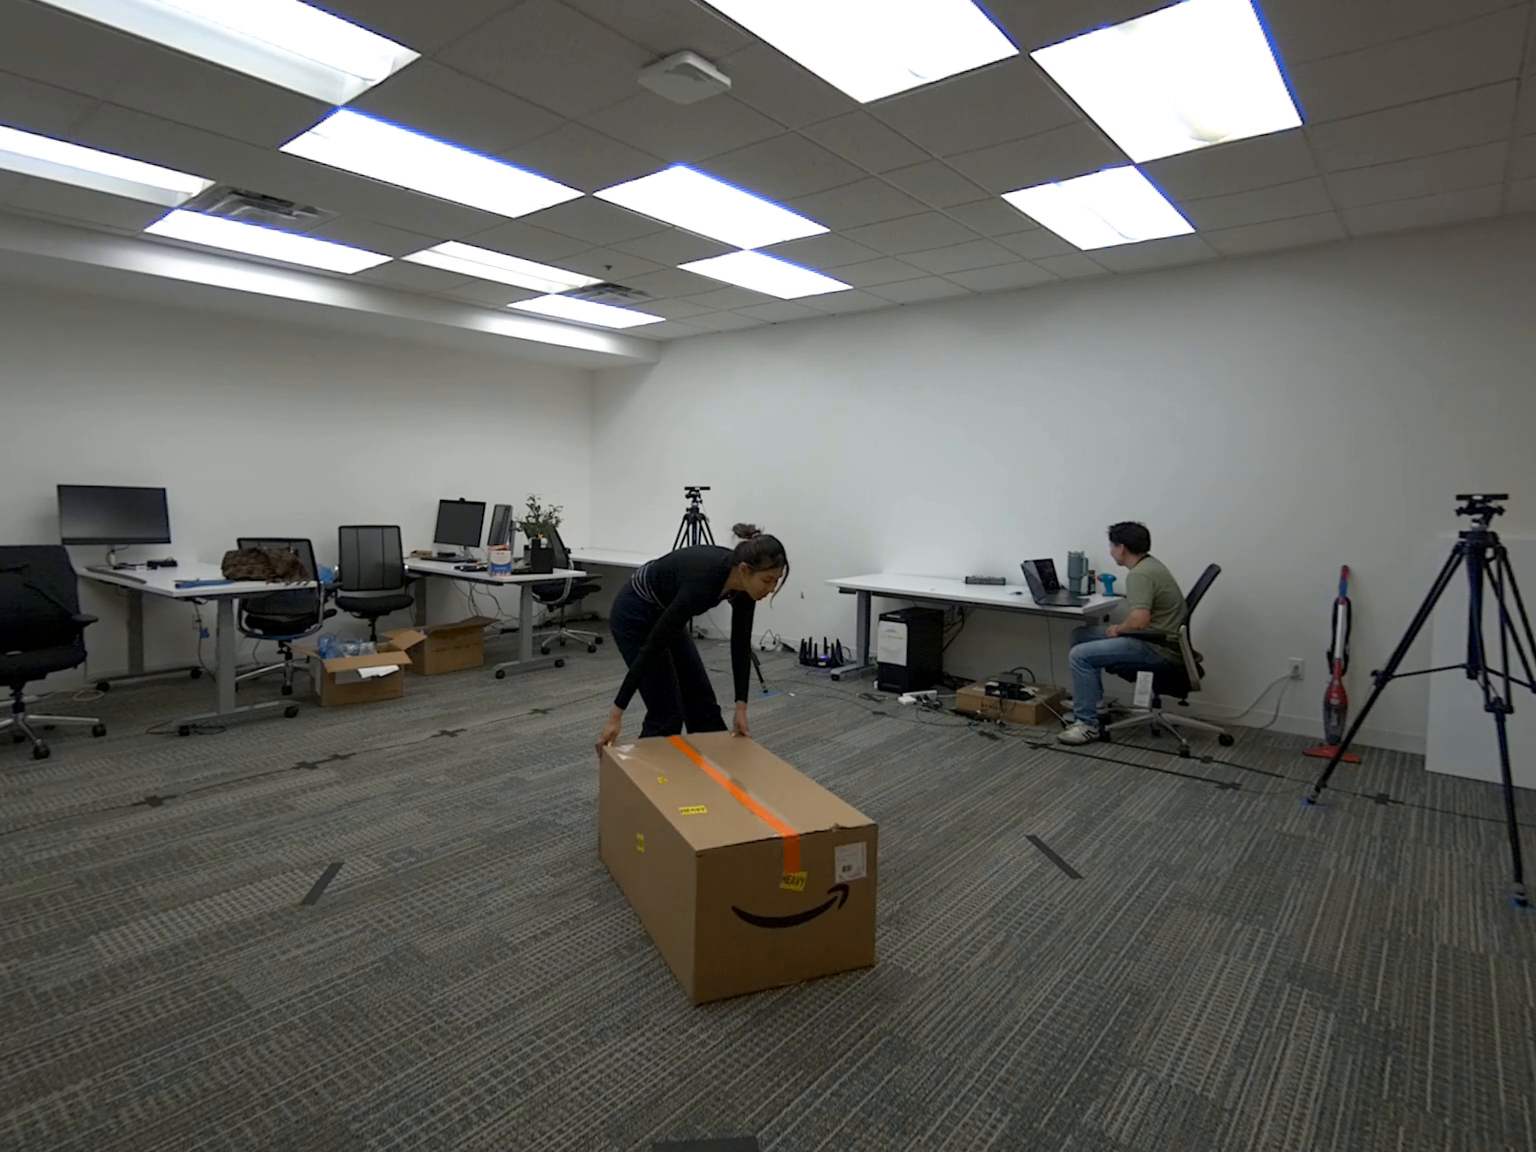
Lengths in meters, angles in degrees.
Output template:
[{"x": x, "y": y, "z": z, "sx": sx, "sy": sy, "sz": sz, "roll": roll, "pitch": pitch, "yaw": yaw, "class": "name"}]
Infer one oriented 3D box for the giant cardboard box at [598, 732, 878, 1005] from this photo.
[{"x": -0.164, "y": 0.877, "z": 2.837, "sx": 0.564, "sy": 0.425, "sz": 1.054, "roll": -1, "pitch": 6, "yaw": -25, "class": "giant cardboard box"}]
